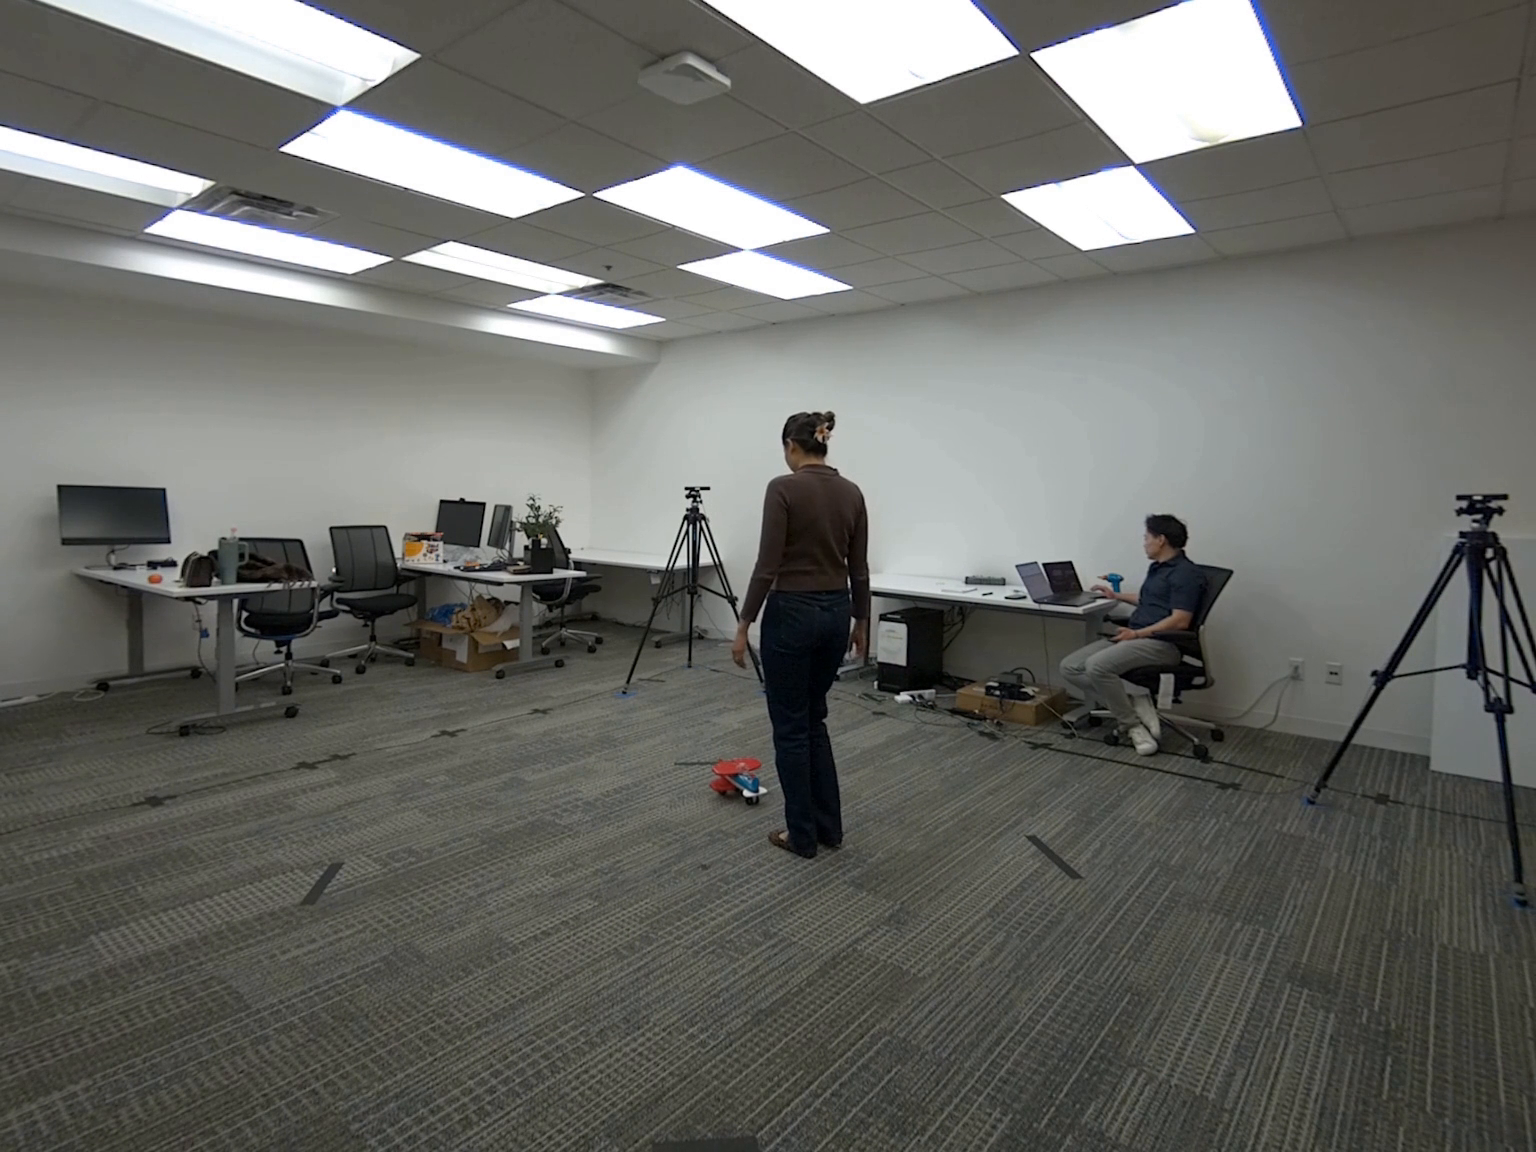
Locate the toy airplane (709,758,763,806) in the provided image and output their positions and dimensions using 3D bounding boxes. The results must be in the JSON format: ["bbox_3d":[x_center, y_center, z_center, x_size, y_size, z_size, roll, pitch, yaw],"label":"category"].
[{"bbox_3d":[-0.118,0.920,3.834,0.266,0.156,0.245,2,5,25],"label":"toy airplane"}]
